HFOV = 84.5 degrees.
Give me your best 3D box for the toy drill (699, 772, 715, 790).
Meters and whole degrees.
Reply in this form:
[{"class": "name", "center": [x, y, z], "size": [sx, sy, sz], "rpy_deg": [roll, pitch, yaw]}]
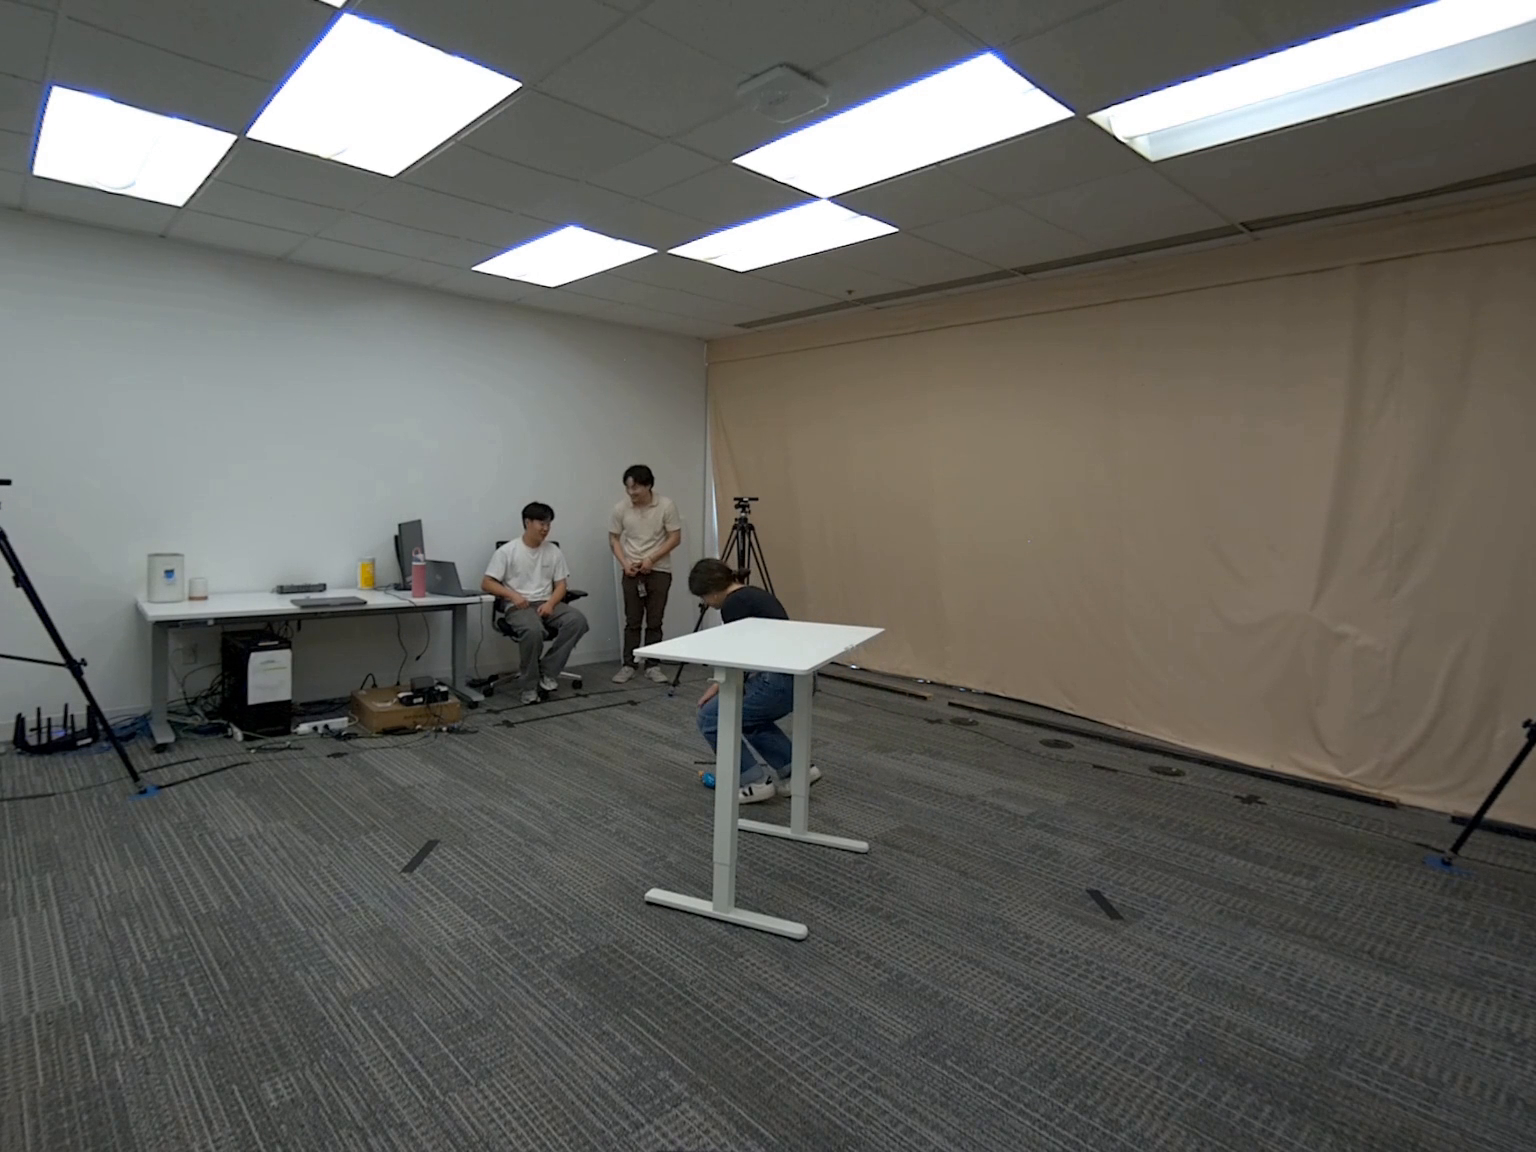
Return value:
[{"class": "toy drill", "center": [-0.269, 0.986, 4.122], "size": [0.143, 0.061, 0.174], "rpy_deg": [-3, 8, -33]}]
